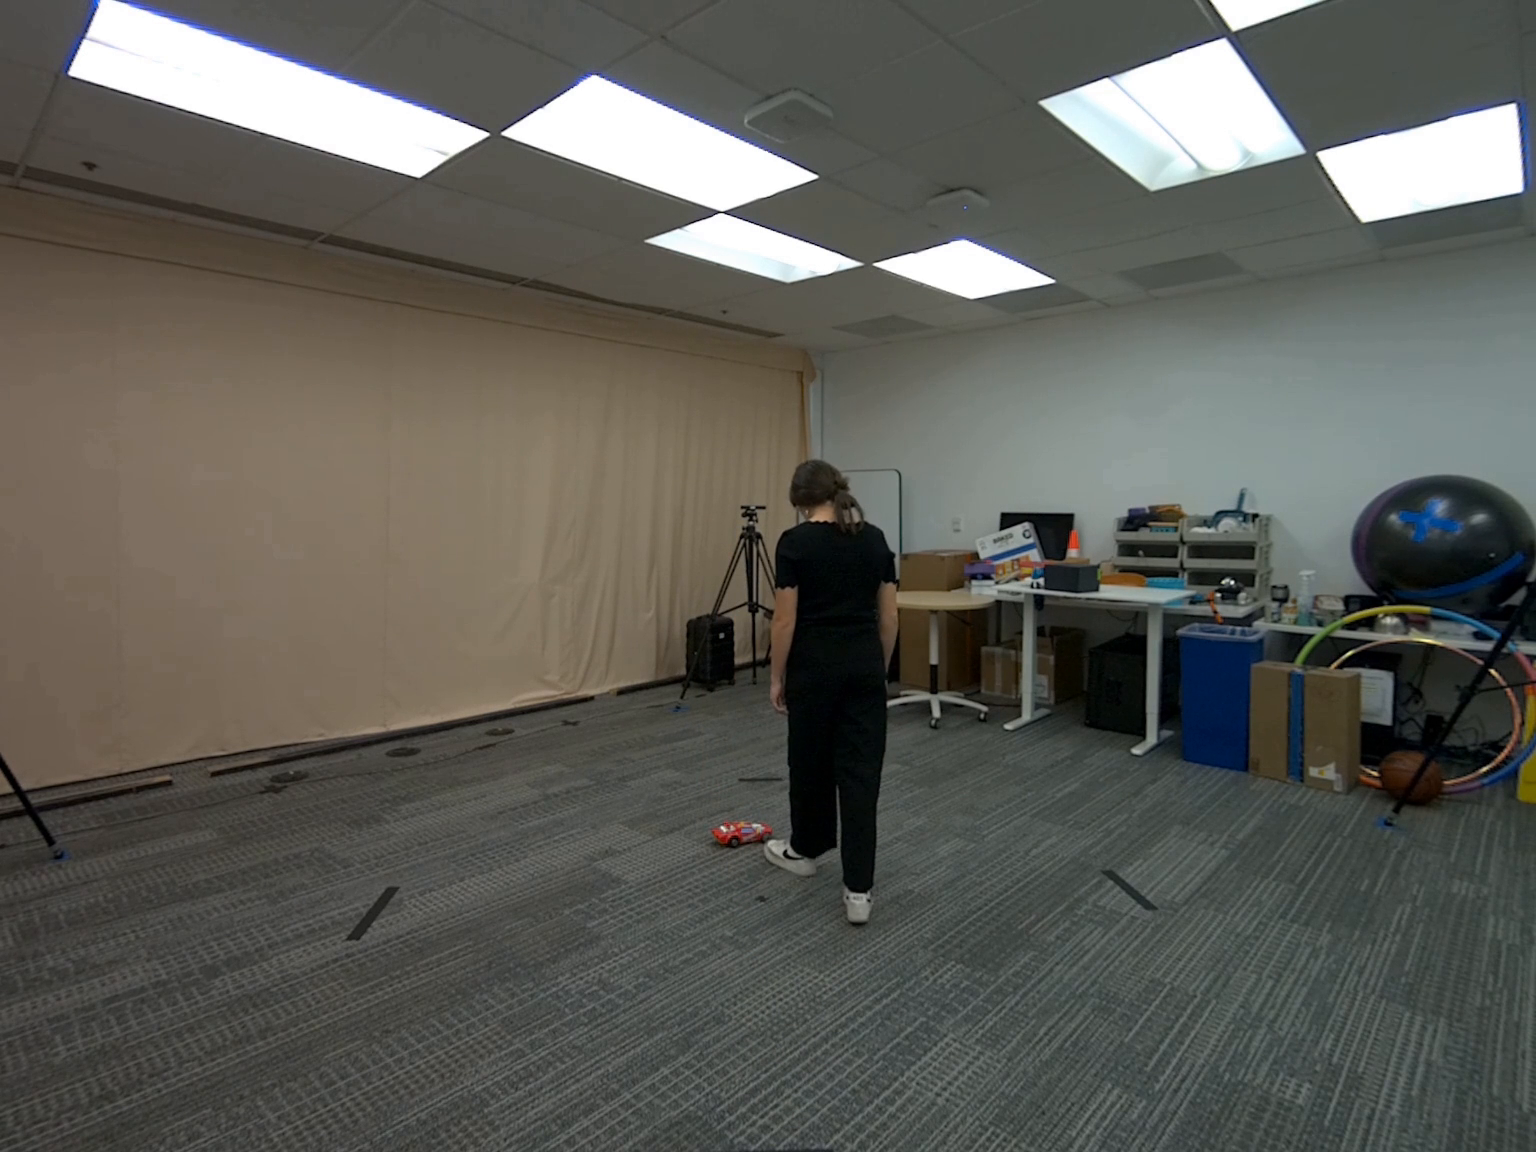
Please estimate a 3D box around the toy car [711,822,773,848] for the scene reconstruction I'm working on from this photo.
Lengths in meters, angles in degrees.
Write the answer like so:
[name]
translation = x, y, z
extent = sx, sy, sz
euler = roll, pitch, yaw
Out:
[toy car]
translation = -0.114, 1.067, 3.491
extent = 0.249, 0.083, 0.133
euler = 10, -1, -21
